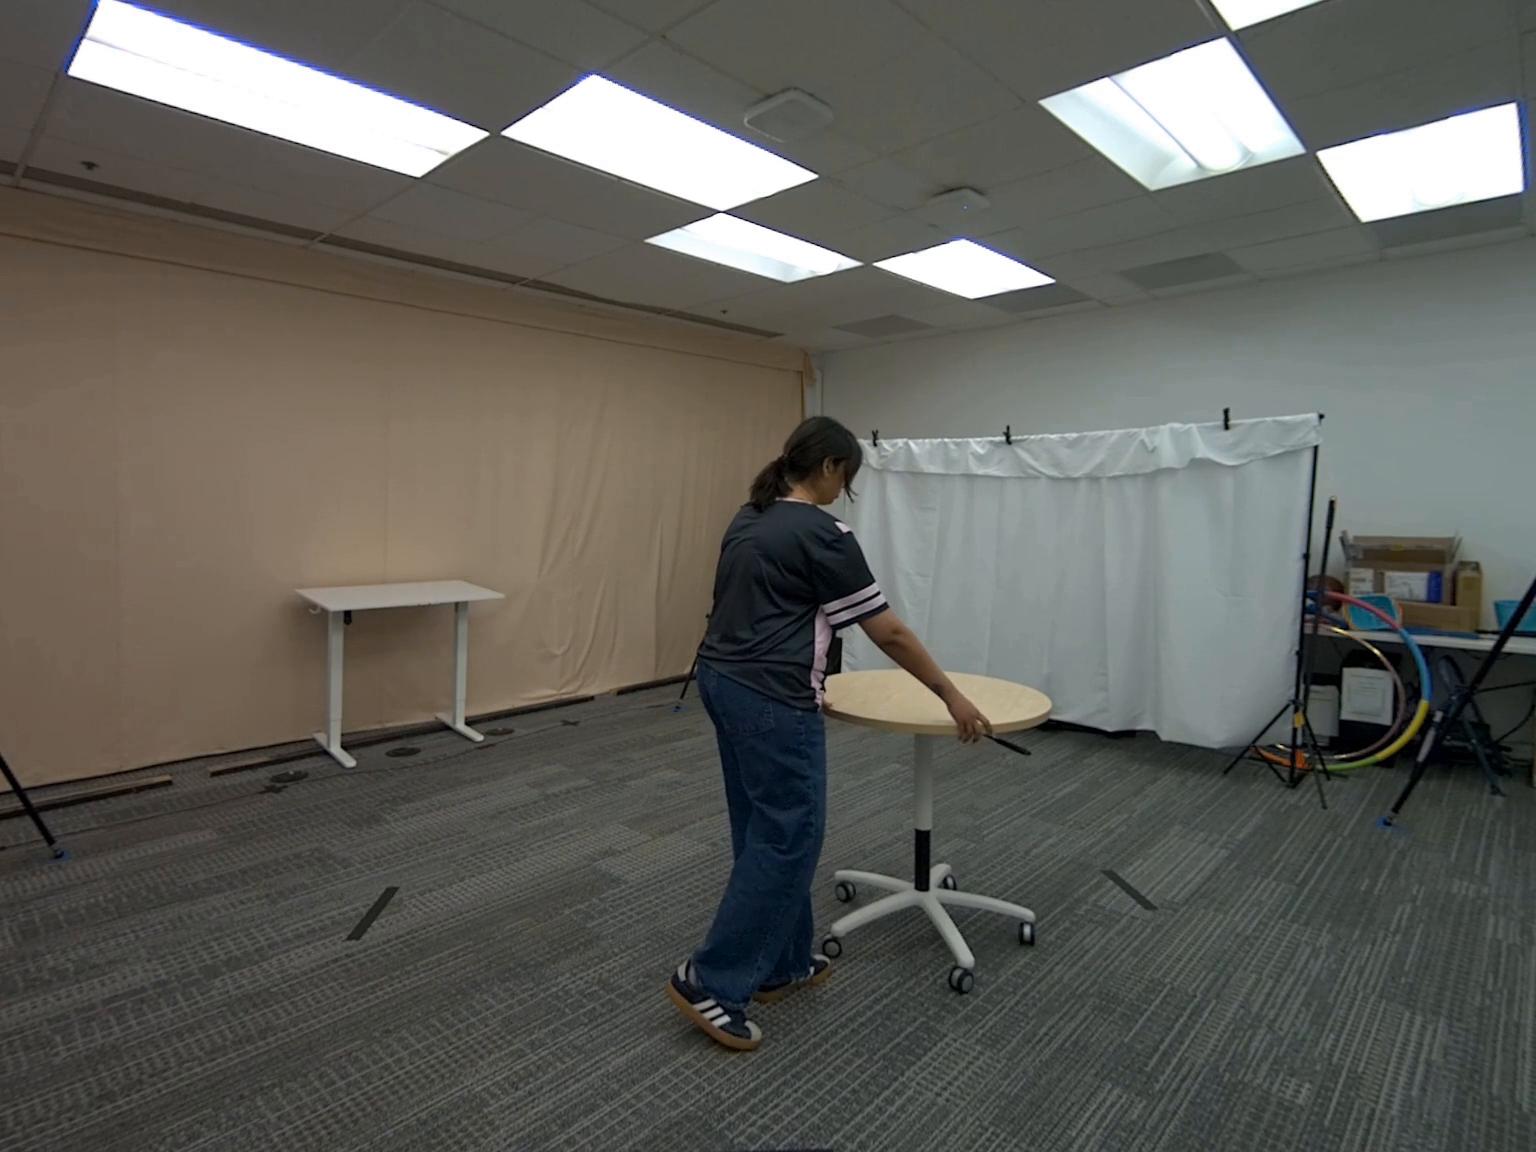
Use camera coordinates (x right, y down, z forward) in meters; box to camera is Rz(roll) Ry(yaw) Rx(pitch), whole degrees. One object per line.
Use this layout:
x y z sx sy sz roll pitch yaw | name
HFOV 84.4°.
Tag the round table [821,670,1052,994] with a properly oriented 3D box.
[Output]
0.499 0.769 2.746 0.784 0.784 0.788 0 4 -2 | round table
